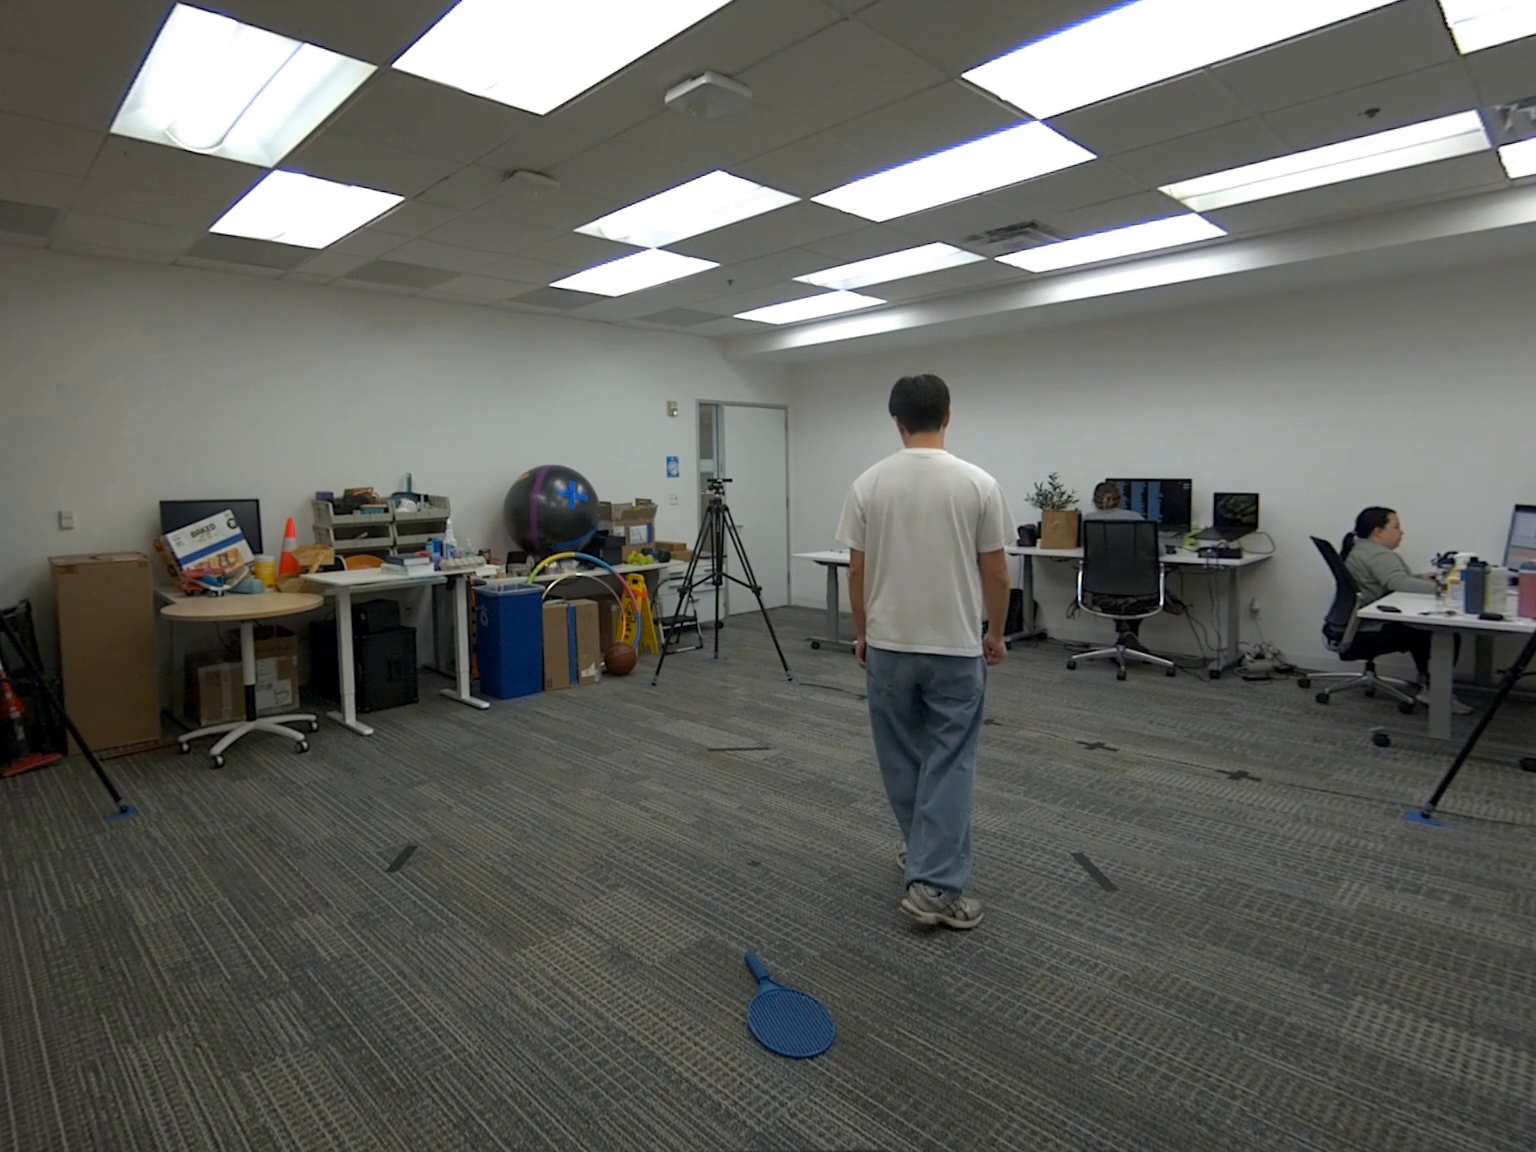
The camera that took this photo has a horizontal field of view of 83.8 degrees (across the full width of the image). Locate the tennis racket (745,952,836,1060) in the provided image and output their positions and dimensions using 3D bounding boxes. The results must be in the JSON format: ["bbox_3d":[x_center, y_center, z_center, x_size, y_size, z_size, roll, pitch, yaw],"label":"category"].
[{"bbox_3d":[0.036,1.126,2.266,0.210,0.031,0.442,-3,8,-19],"label":"tennis racket"}]
